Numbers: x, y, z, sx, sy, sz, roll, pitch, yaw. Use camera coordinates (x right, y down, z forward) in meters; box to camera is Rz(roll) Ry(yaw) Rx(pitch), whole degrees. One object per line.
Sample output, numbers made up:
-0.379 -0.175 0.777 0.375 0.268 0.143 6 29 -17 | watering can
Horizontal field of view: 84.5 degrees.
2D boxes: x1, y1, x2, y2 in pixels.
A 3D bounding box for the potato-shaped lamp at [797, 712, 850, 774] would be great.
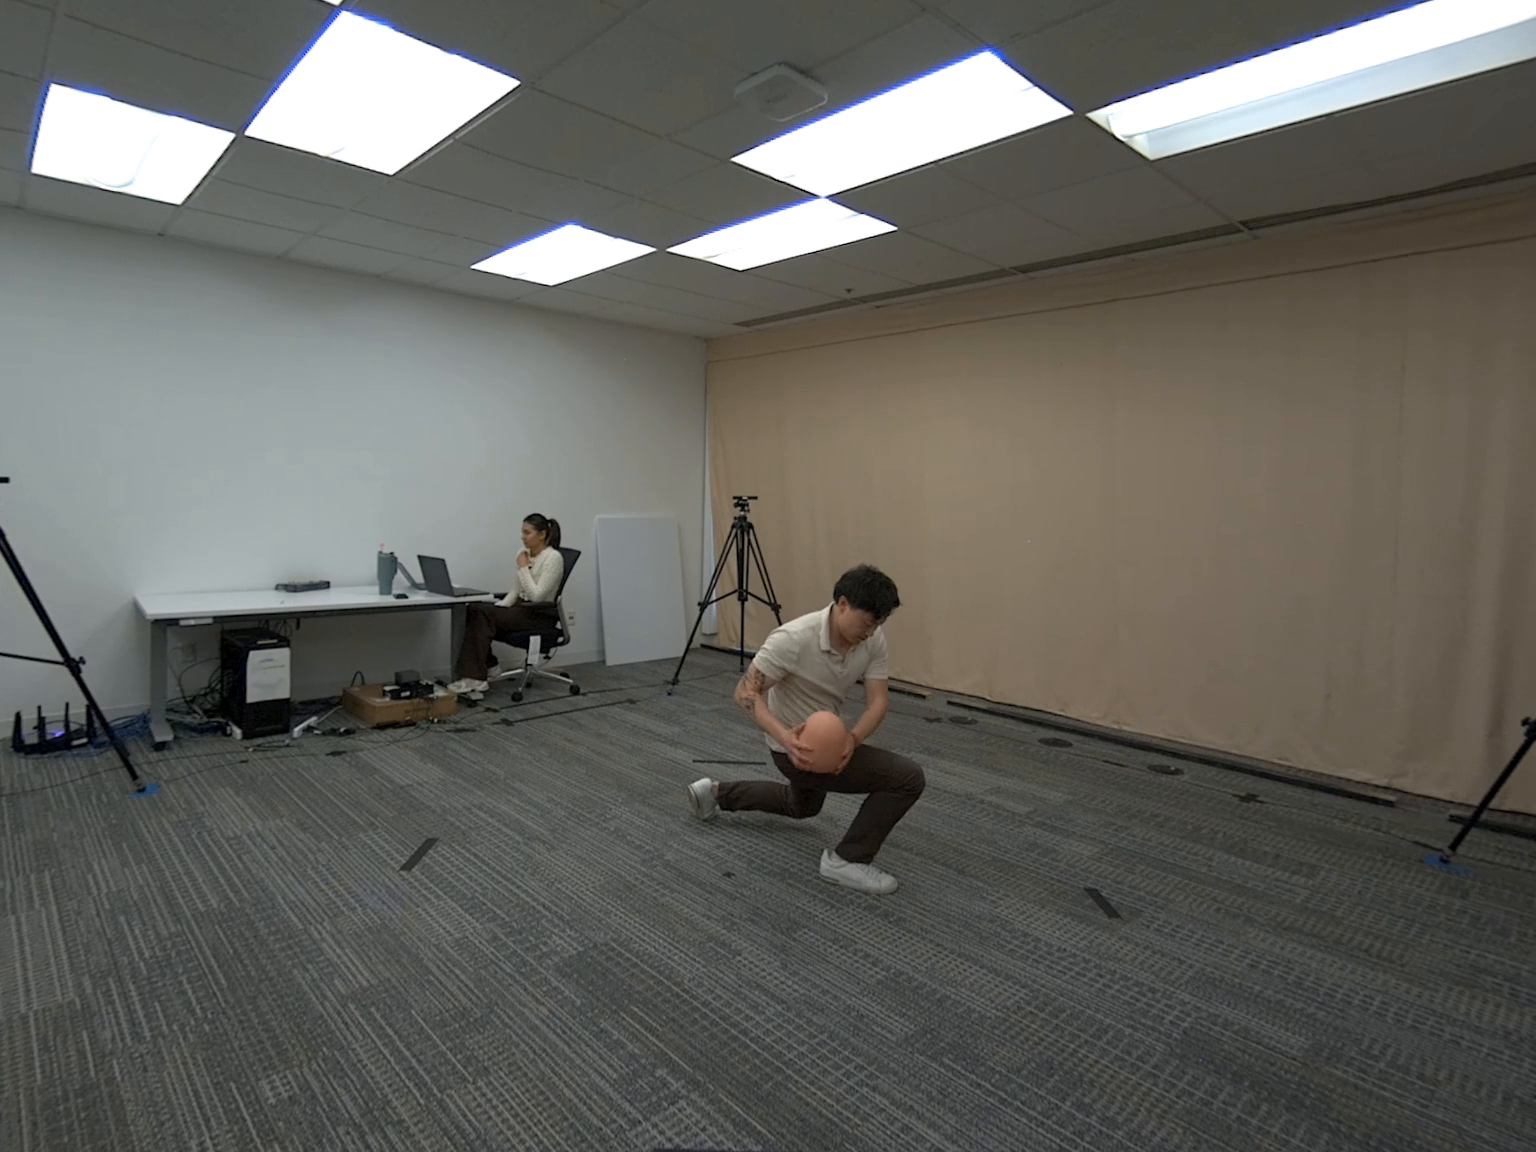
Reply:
0.189 0.539 2.833 0.165 0.196 0.172 10 13 3 | potato-shaped lamp
